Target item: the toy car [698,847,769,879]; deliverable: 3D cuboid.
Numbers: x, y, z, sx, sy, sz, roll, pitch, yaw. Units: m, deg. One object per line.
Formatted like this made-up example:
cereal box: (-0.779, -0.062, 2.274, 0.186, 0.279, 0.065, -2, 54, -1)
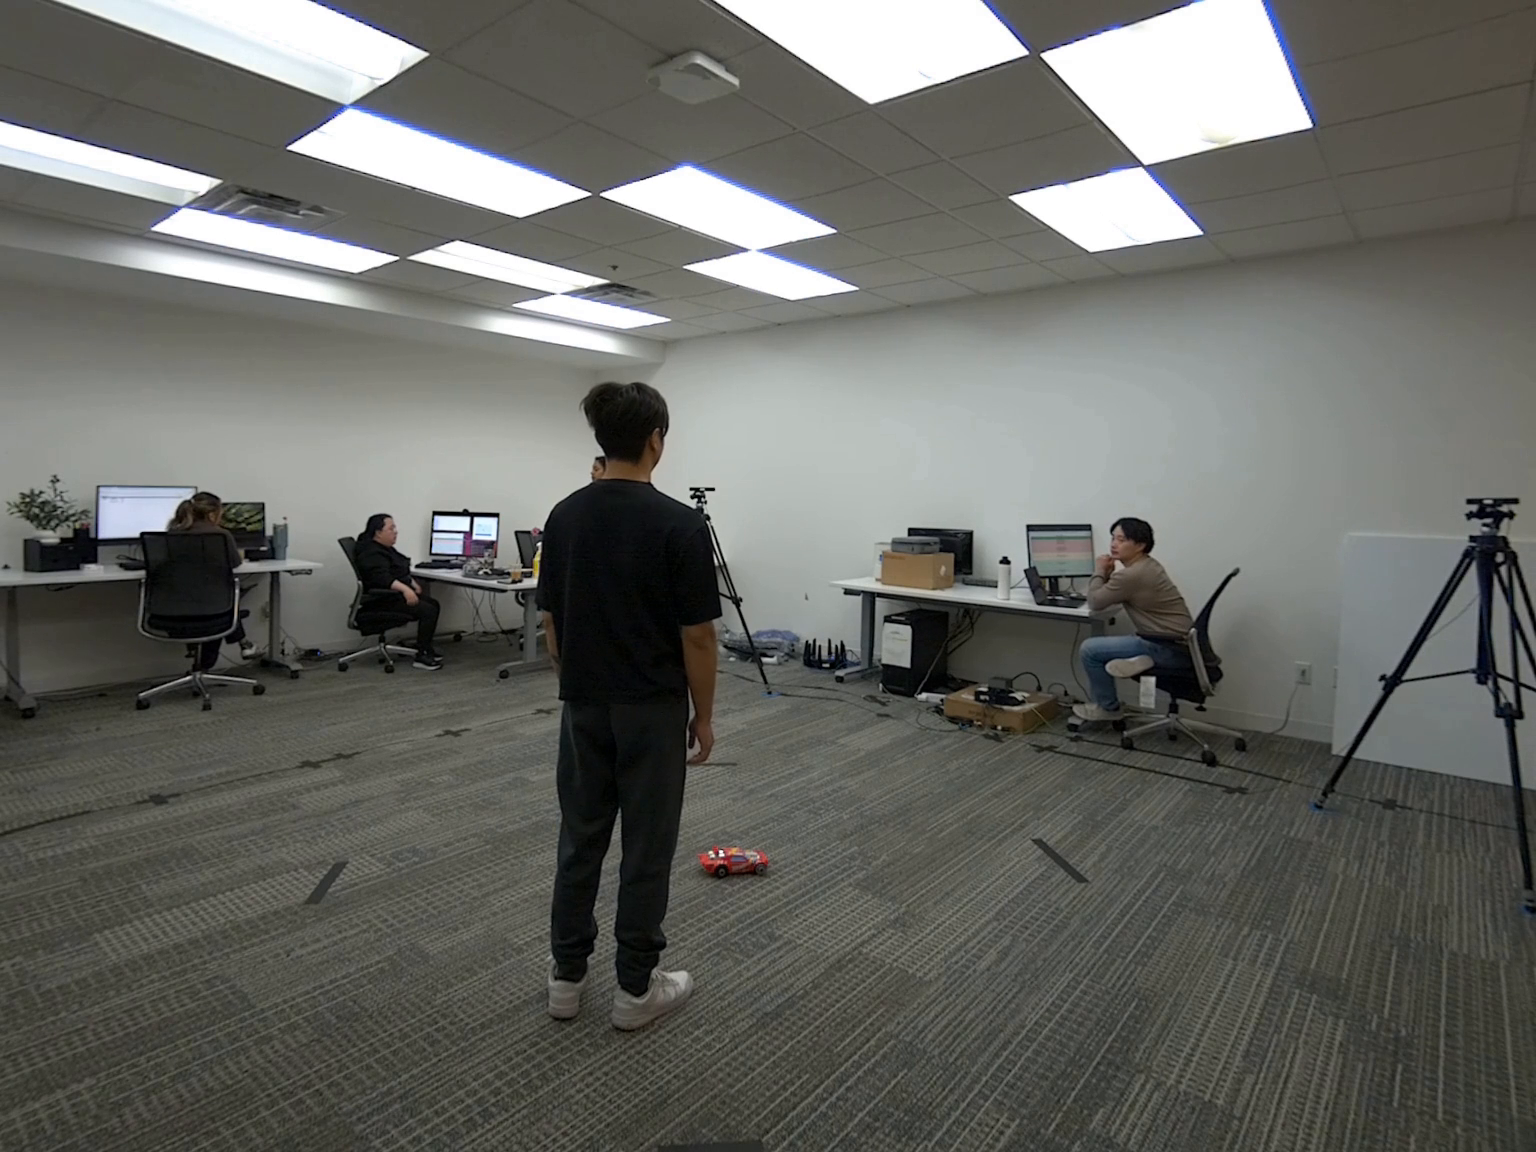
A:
toy car: (-0.143, 1.038, 3.093, 0.251, 0.083, 0.132, 12, 1, -12)
